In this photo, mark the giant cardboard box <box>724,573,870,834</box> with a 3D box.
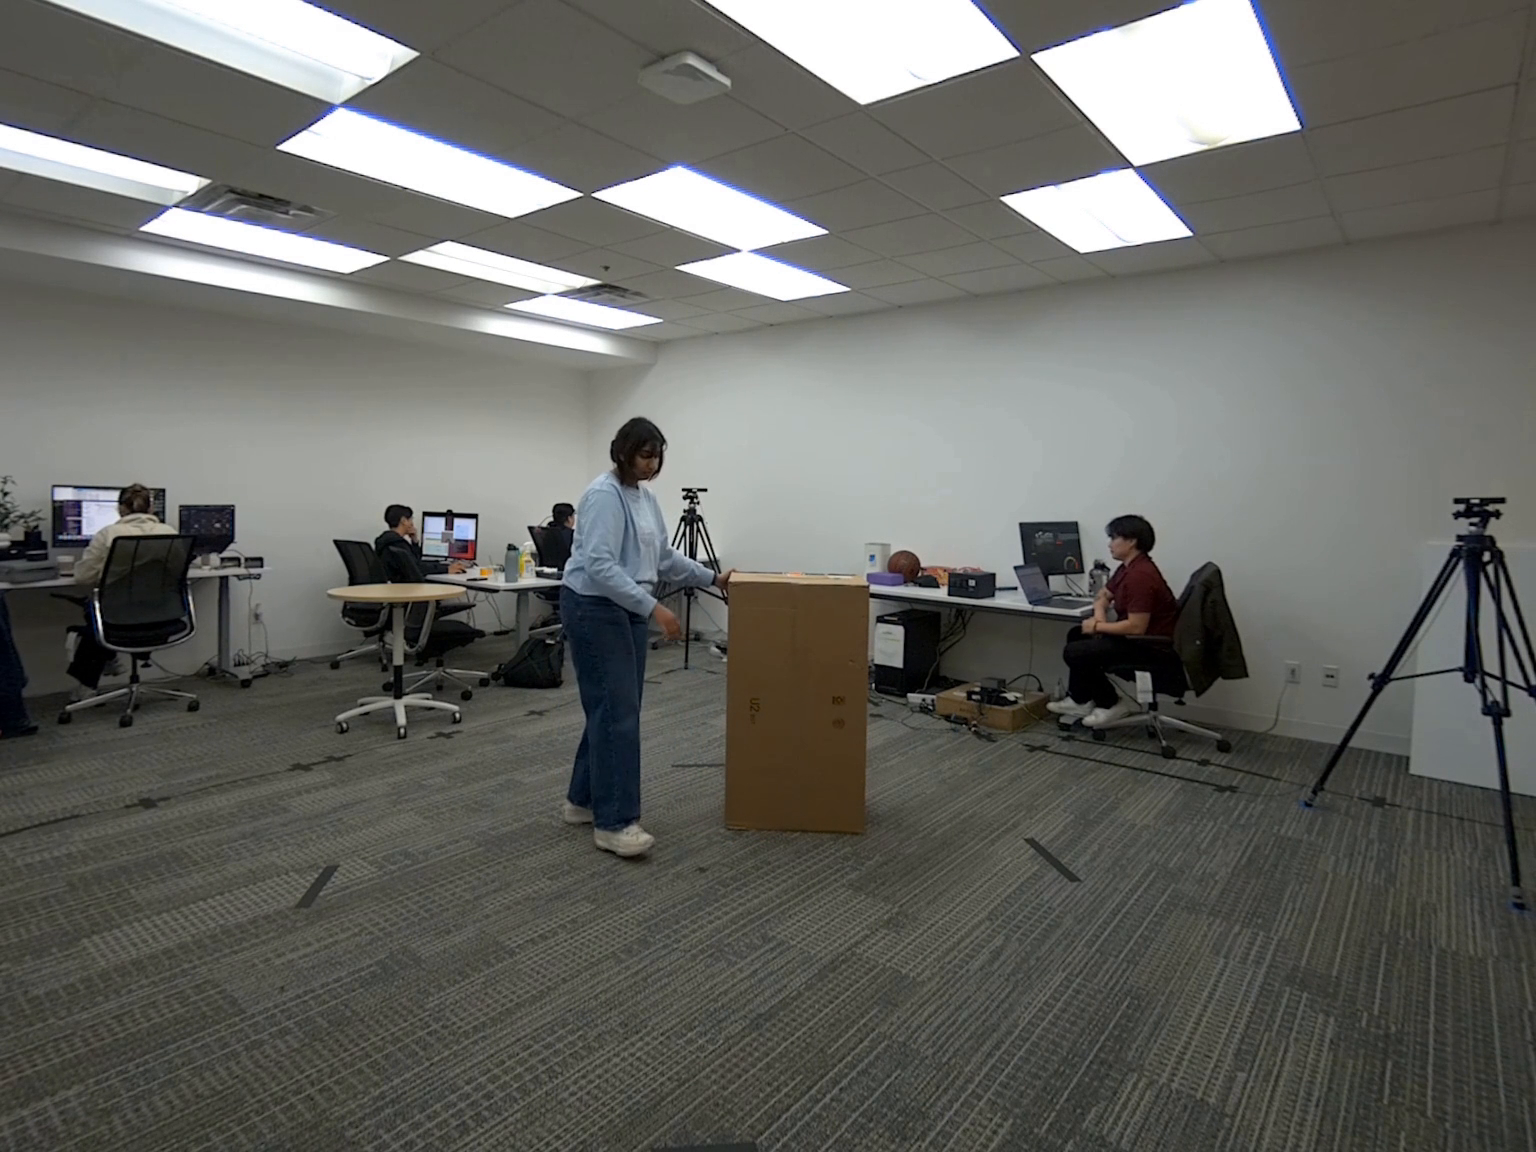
[{"bbox_3d":[0.109,0.516,3.662,0.580,1.023,0.426,1,3,3],"label":"giant cardboard box"}]
